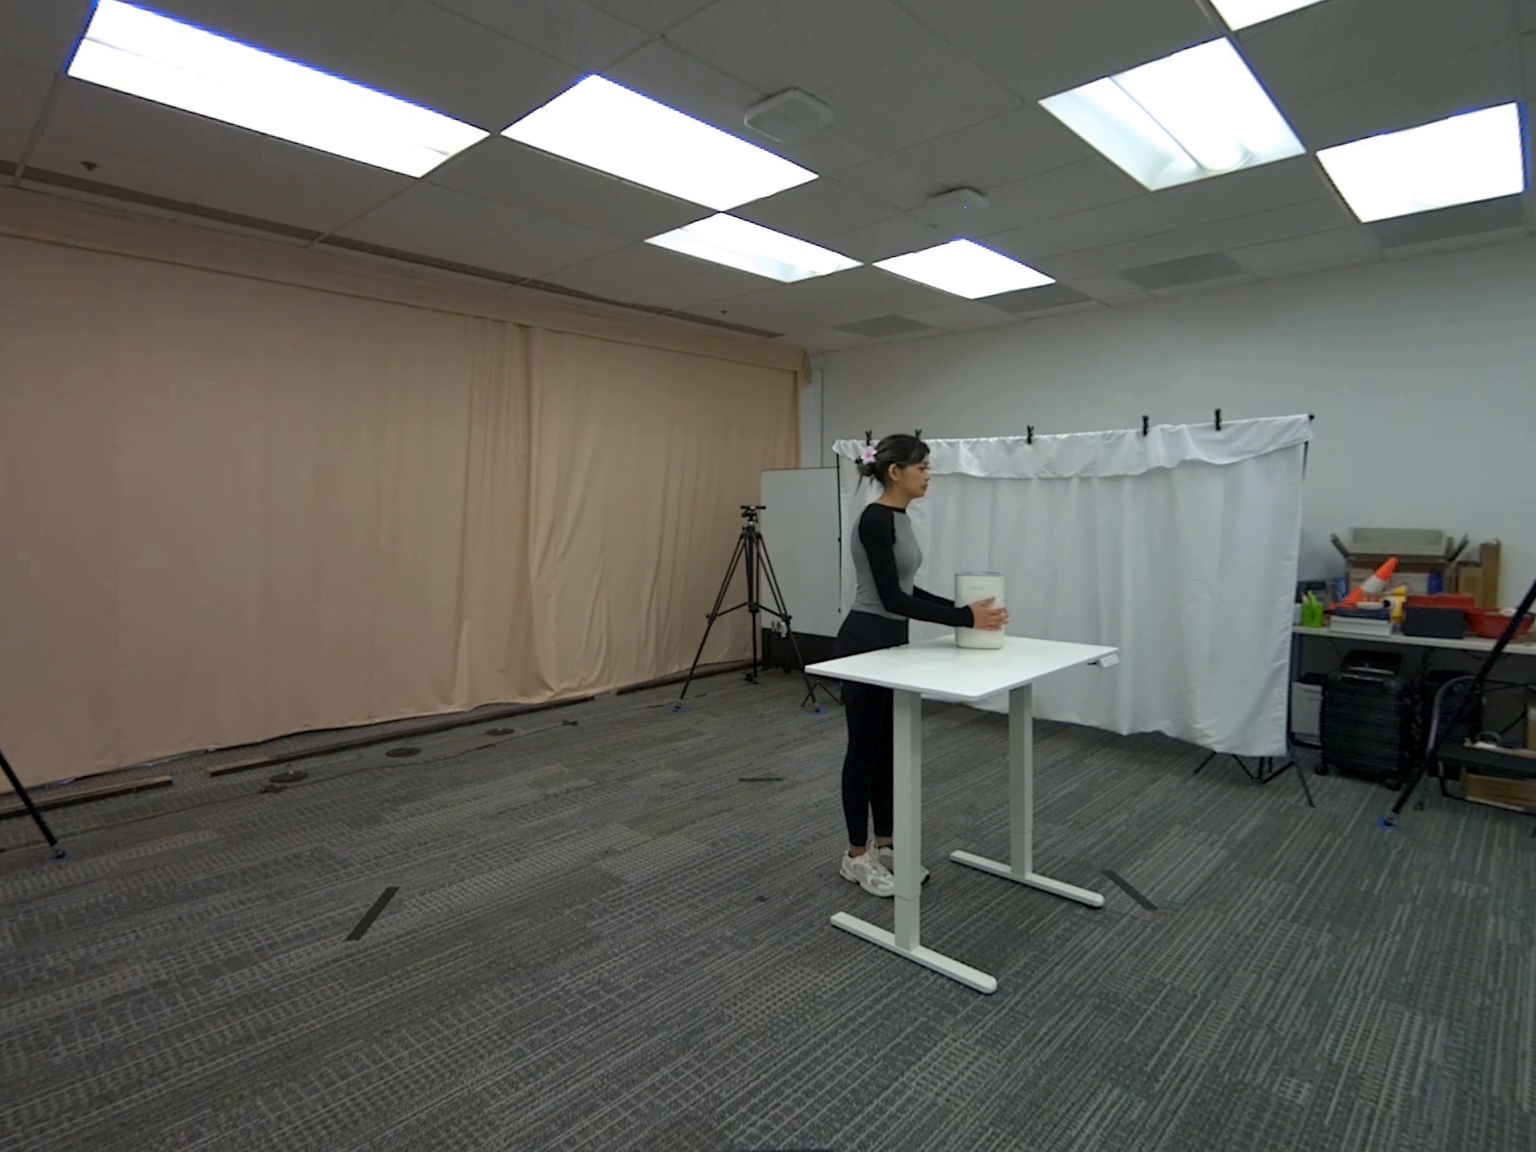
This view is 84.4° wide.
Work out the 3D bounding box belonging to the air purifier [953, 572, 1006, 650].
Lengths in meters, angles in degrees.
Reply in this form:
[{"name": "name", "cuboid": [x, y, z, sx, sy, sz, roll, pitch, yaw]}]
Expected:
[{"name": "air purifier", "cuboid": [0.770, 0.125, 3.021, 0.174, 0.265, 0.169, 0, 2, 14]}]
